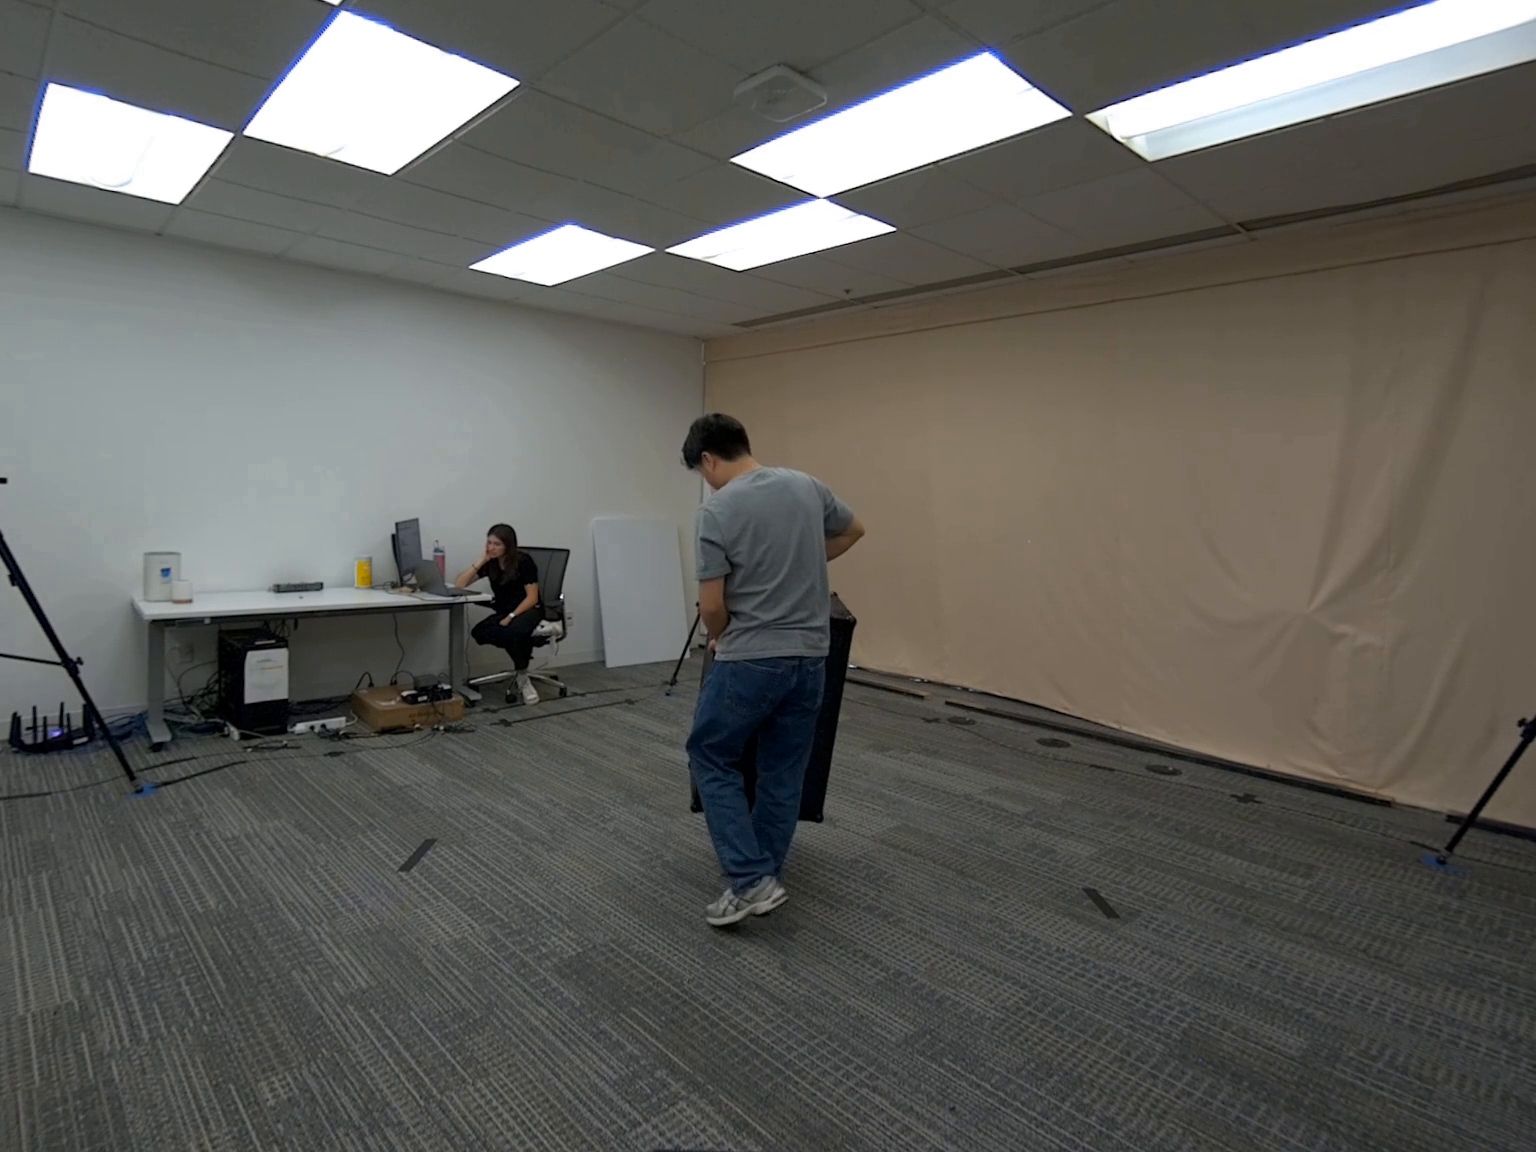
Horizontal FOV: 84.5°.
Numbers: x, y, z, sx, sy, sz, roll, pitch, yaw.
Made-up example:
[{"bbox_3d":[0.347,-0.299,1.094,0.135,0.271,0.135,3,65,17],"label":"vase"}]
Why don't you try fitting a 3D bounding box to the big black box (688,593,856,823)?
[{"bbox_3d":[0.004,0.441,3.156,0.518,0.855,0.401,6,11,-6],"label":"big black box"}]
